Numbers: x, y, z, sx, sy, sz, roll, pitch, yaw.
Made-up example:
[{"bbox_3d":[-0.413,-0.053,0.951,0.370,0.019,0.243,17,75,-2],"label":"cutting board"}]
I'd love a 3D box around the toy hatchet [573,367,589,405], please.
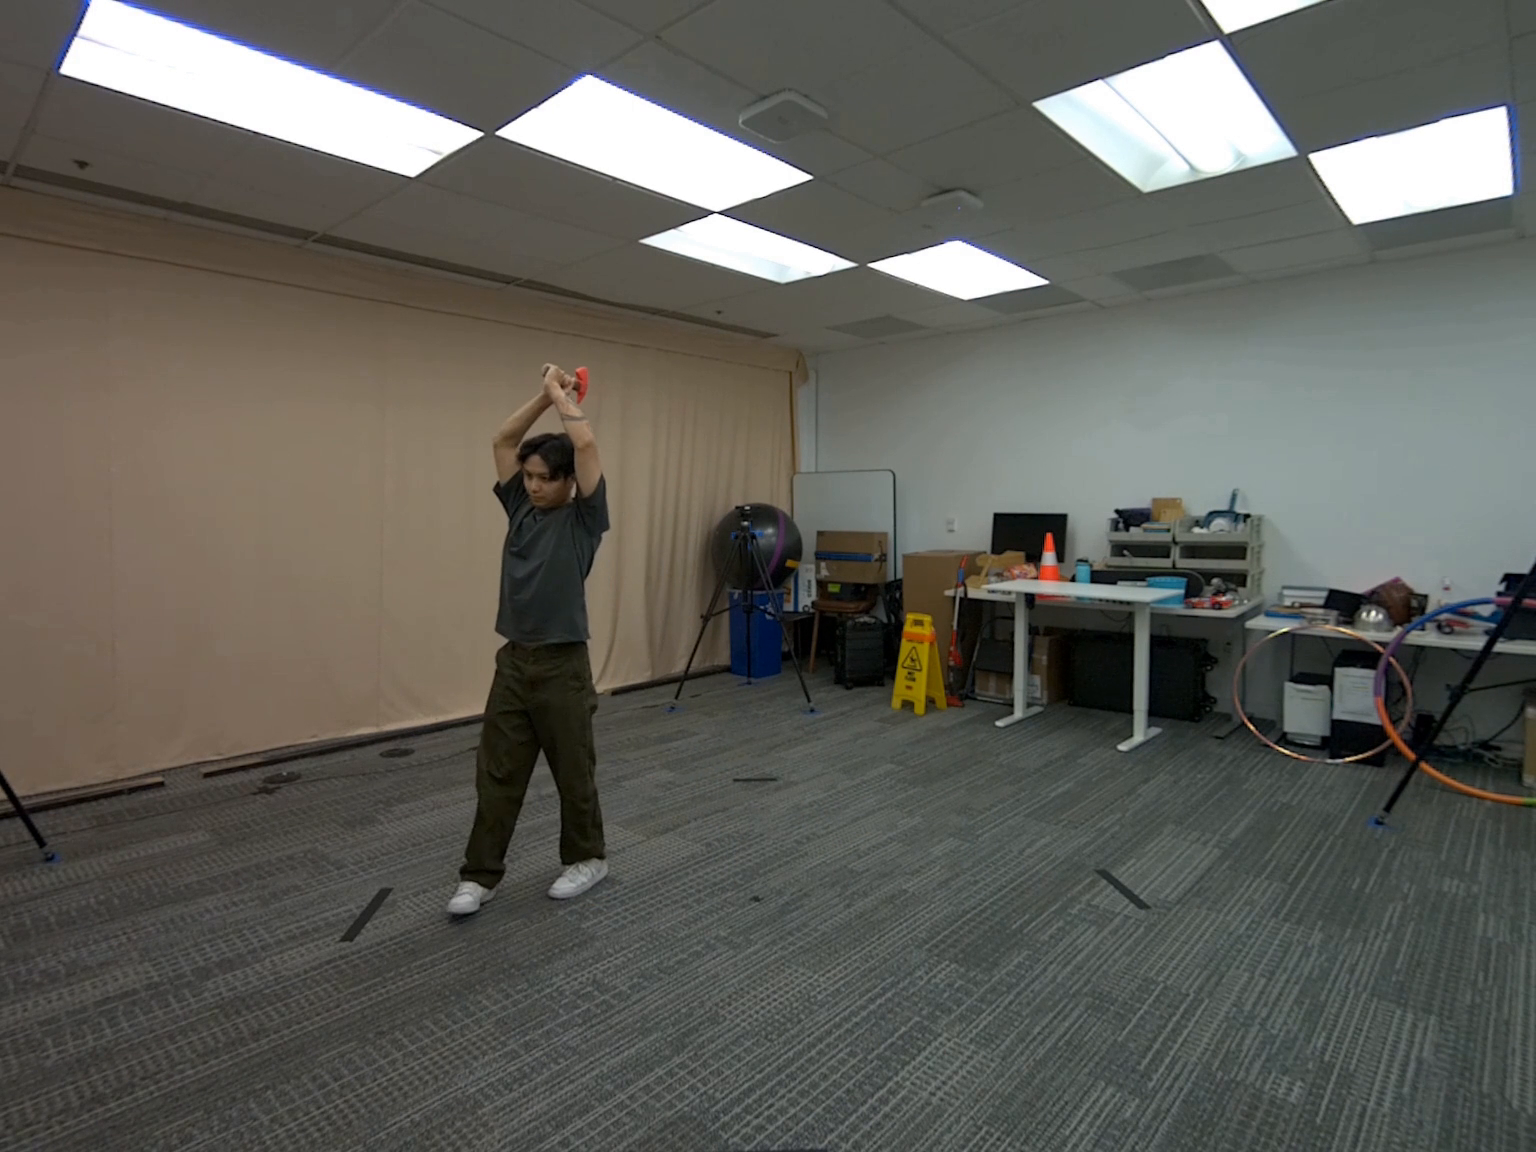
[{"bbox_3d":[-0.718,-0.719,2.995,0.030,0.131,0.263,20,-5,22],"label":"toy hatchet"}]
